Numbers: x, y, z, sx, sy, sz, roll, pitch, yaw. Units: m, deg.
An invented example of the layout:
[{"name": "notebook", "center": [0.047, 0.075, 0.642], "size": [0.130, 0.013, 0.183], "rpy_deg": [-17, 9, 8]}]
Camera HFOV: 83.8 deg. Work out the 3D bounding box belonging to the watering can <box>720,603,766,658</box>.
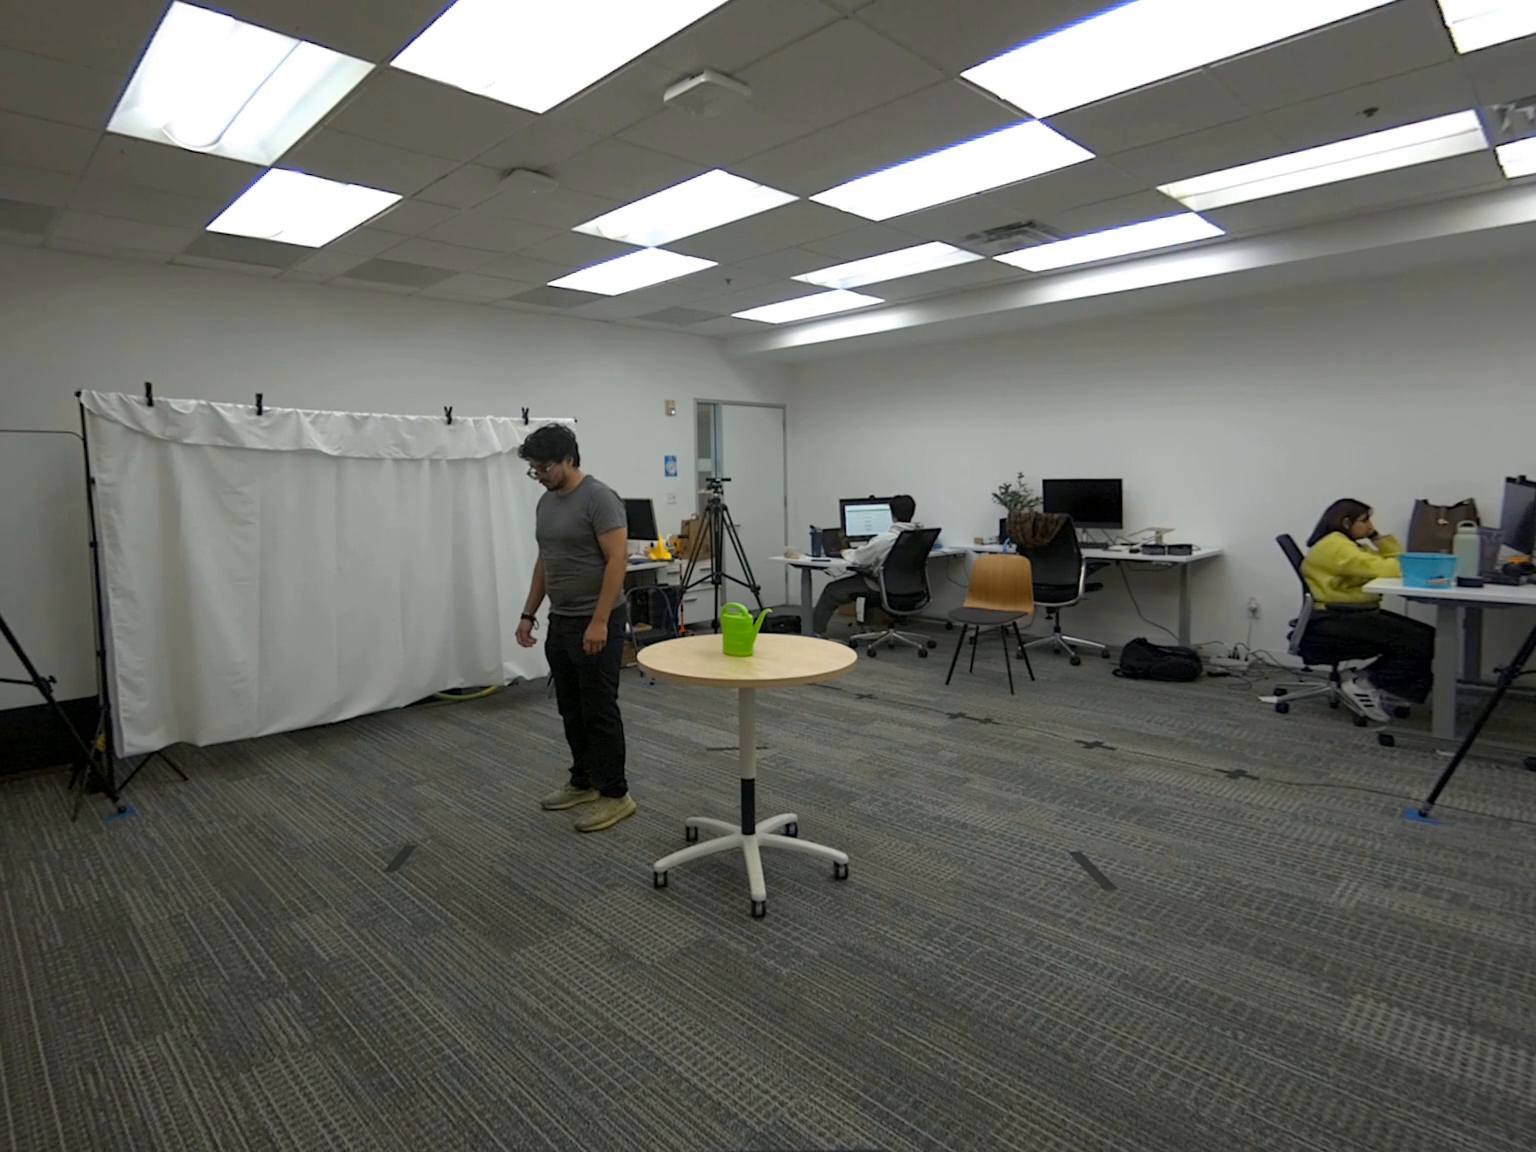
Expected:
[{"name": "watering can", "center": [-0.085, 0.188, 2.949], "size": [0.096, 0.176, 0.284], "rpy_deg": [-2, 5, -22]}]
